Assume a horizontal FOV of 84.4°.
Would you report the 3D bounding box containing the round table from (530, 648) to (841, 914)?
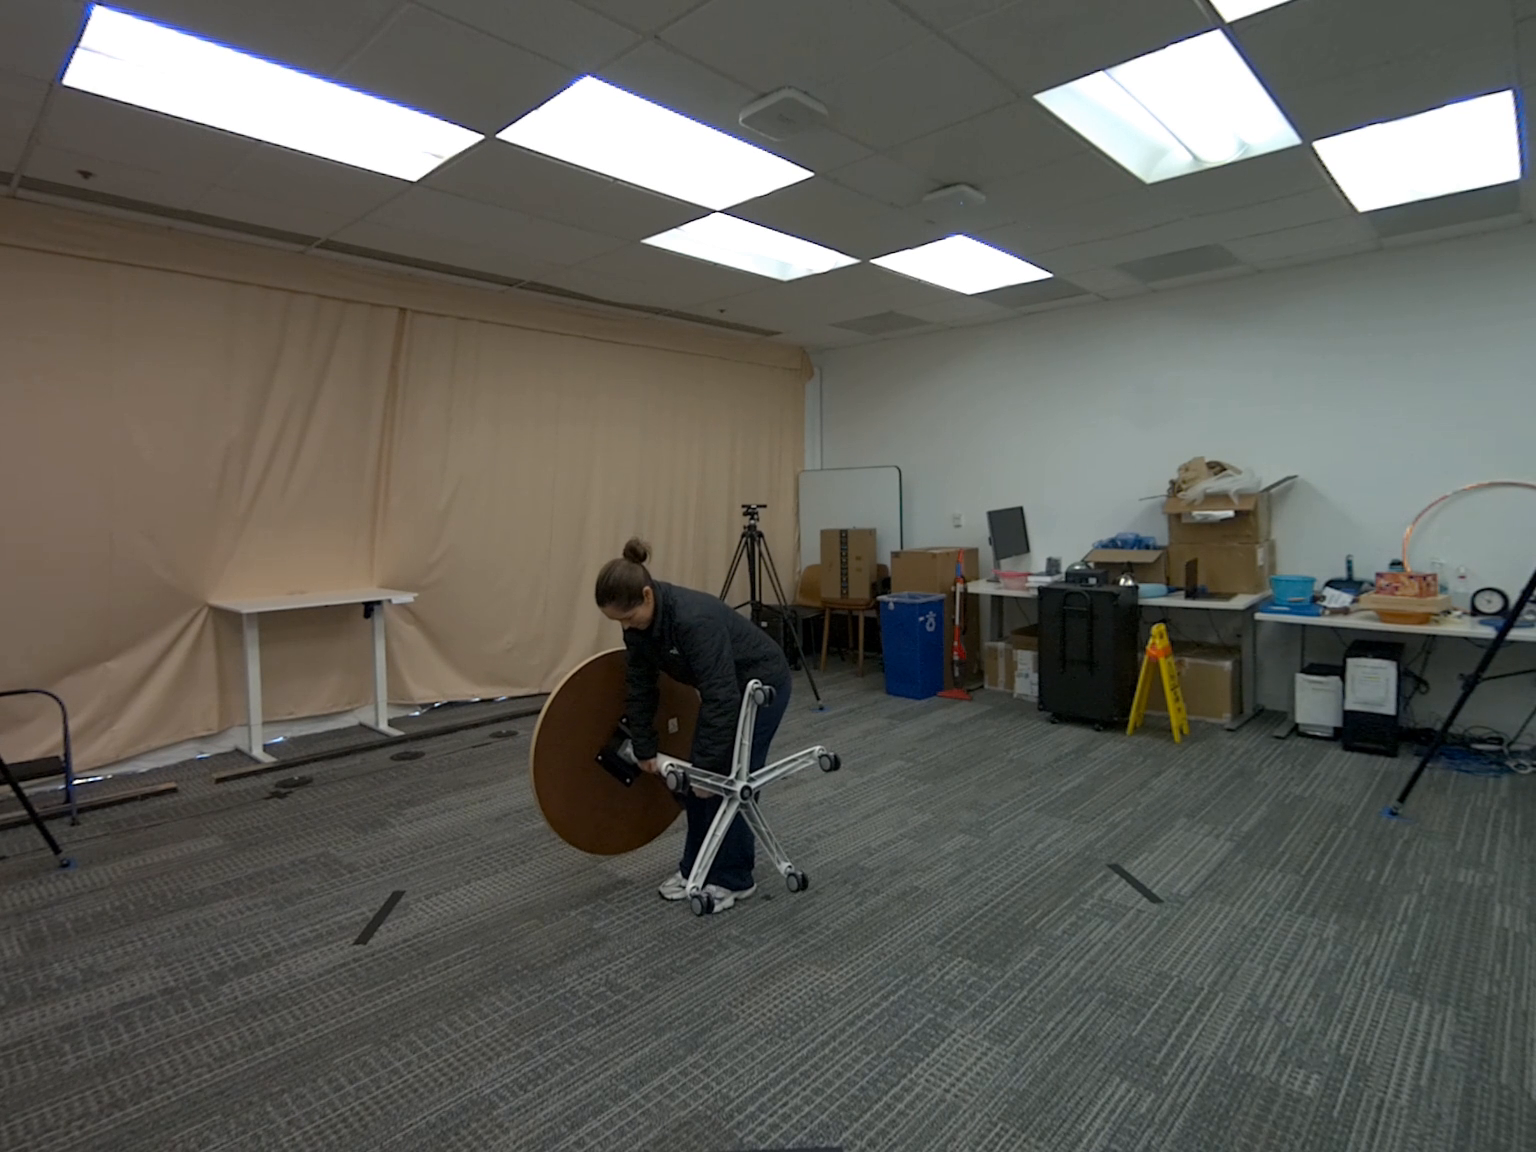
[{"bbox_3d":[-0.259,0.676,2.870,0.761,0.783,0.812,-4,5,-42],"label":"round table"}]
